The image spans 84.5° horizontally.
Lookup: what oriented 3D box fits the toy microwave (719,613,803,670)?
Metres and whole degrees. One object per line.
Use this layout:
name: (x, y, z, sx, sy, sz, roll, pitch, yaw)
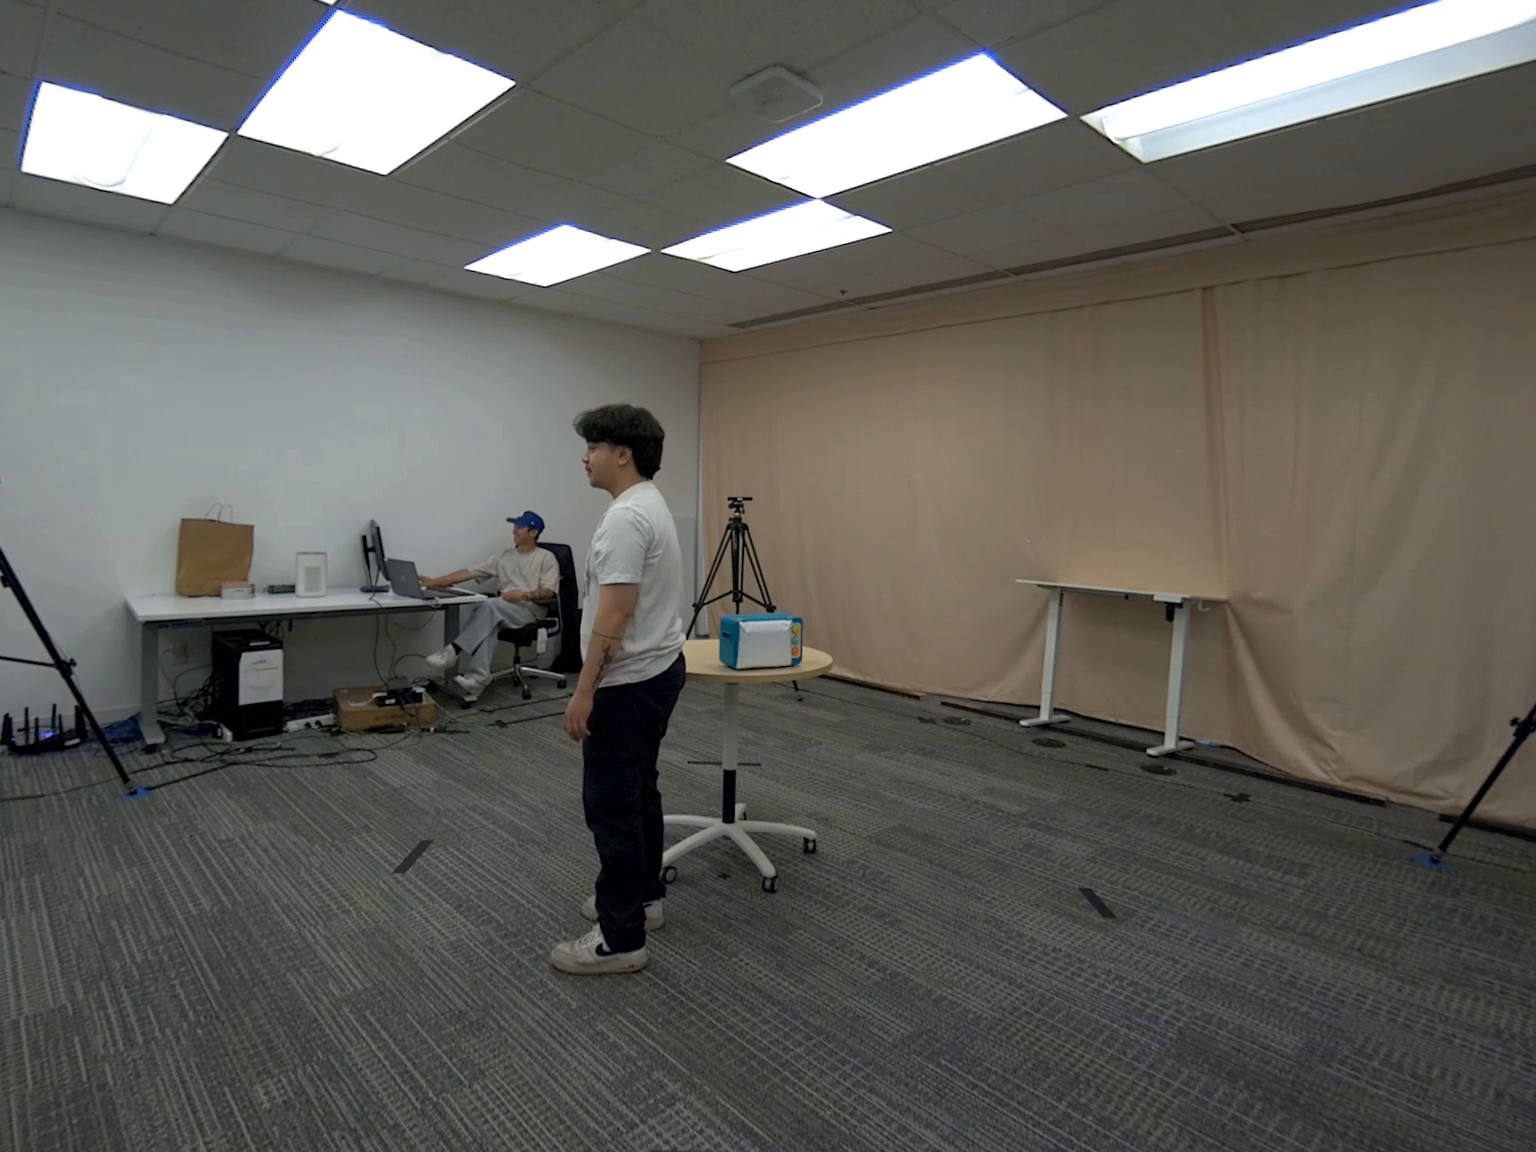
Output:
toy microwave: (-0.024, 0.234, 3.012, 0.281, 0.184, 0.155, -1, 4, -27)
